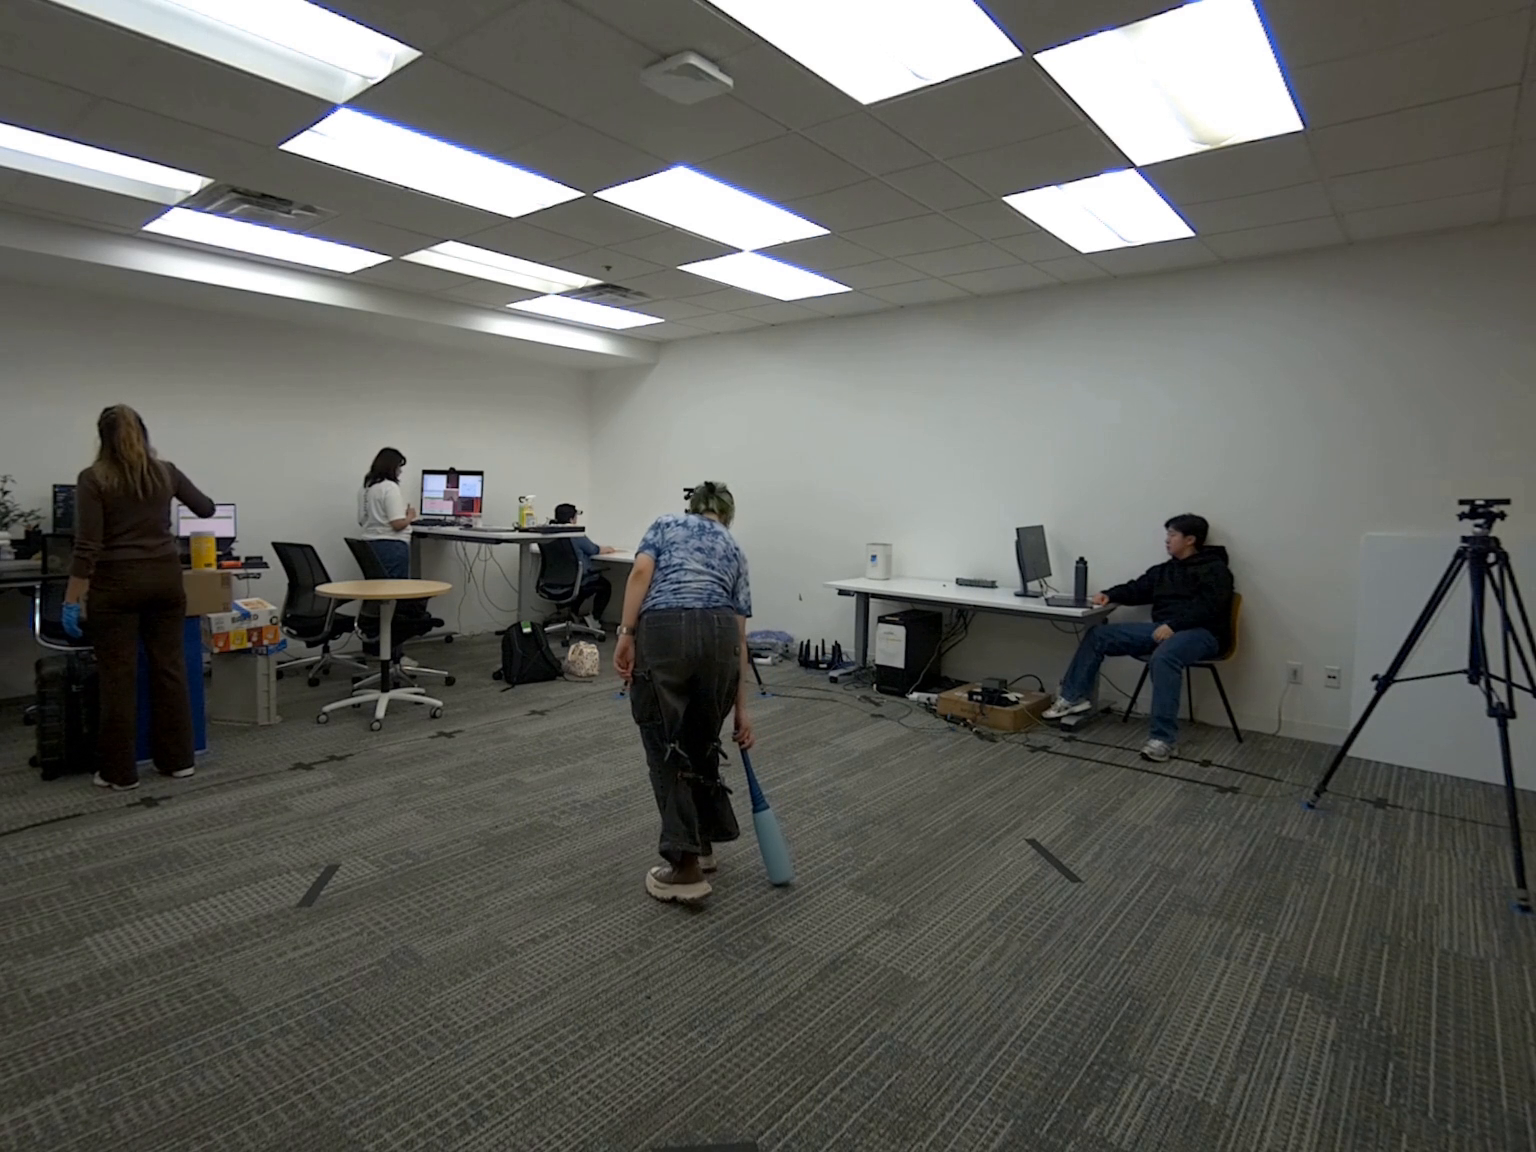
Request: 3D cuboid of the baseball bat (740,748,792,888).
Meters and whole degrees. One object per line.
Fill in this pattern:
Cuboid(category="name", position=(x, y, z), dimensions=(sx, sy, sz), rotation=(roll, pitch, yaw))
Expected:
Cuboid(category="baseball bat", position=(-0.036, 0.829, 3.054), dimensions=(0.089, 0.551, 0.088), rotation=(-15, -12, -5))
